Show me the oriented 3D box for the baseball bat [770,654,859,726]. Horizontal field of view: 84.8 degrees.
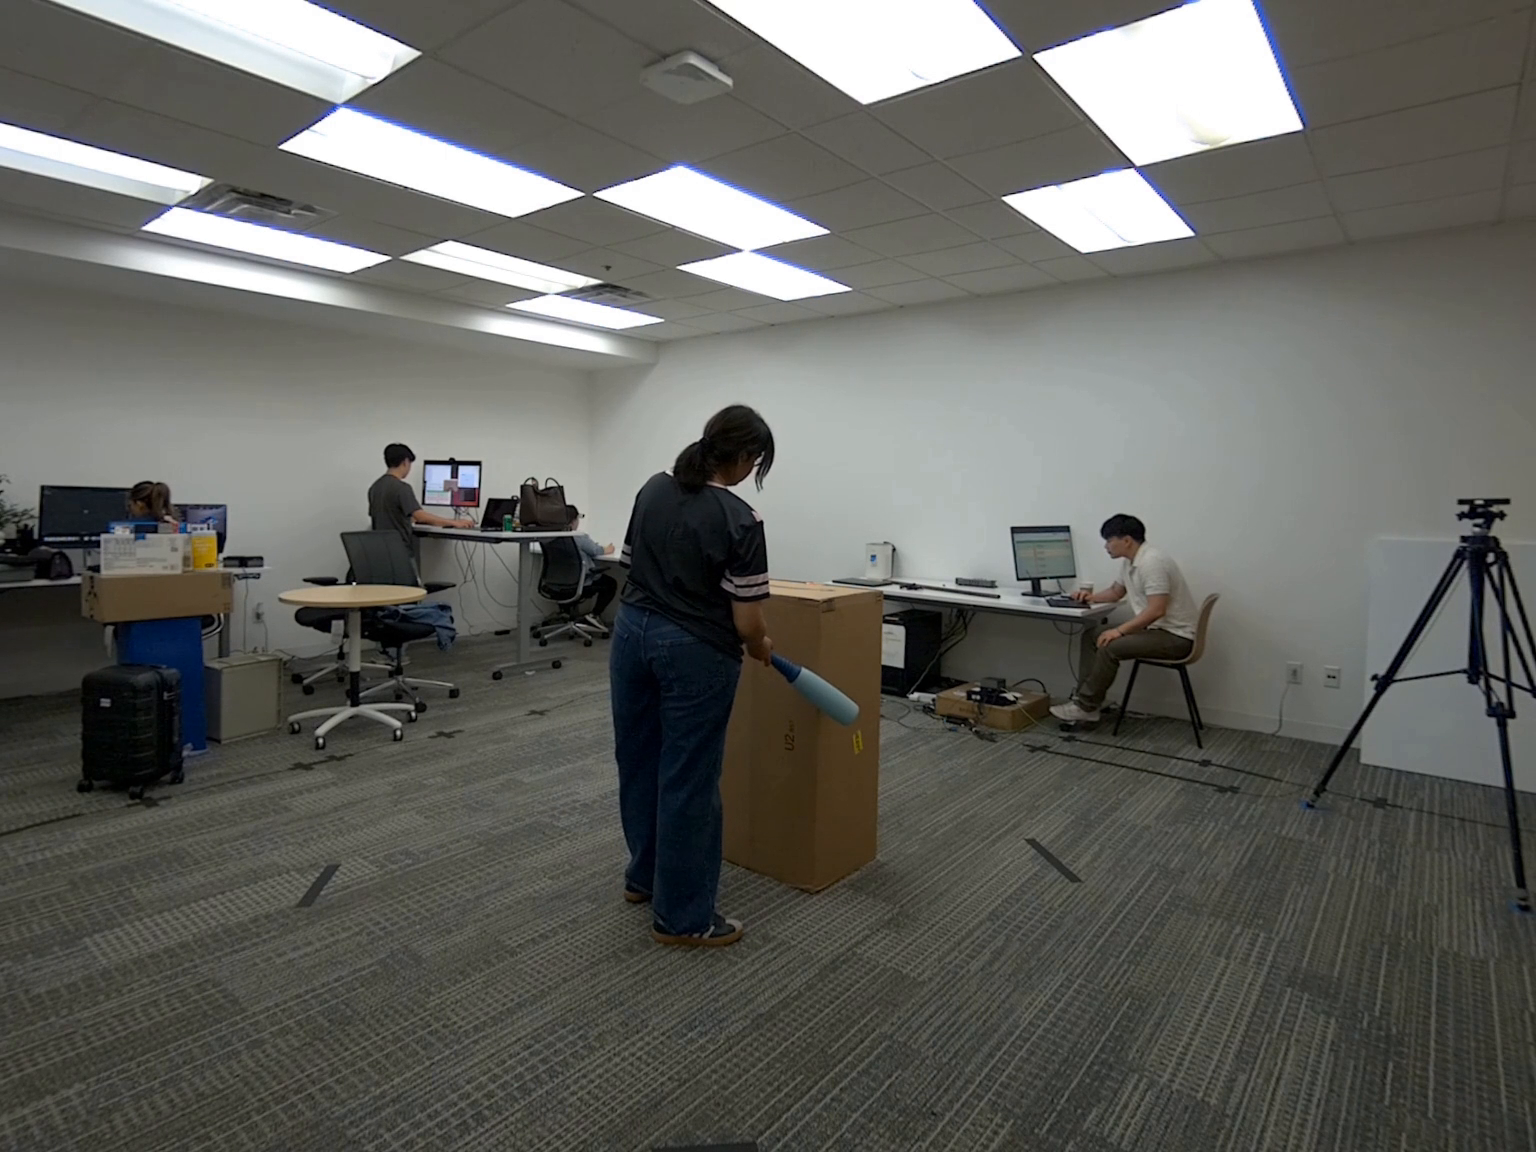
[{"bbox_3d":[0.065,0.323,2.839,0.538,0.089,0.090,36,-1,-6],"label":"baseball bat"}]
